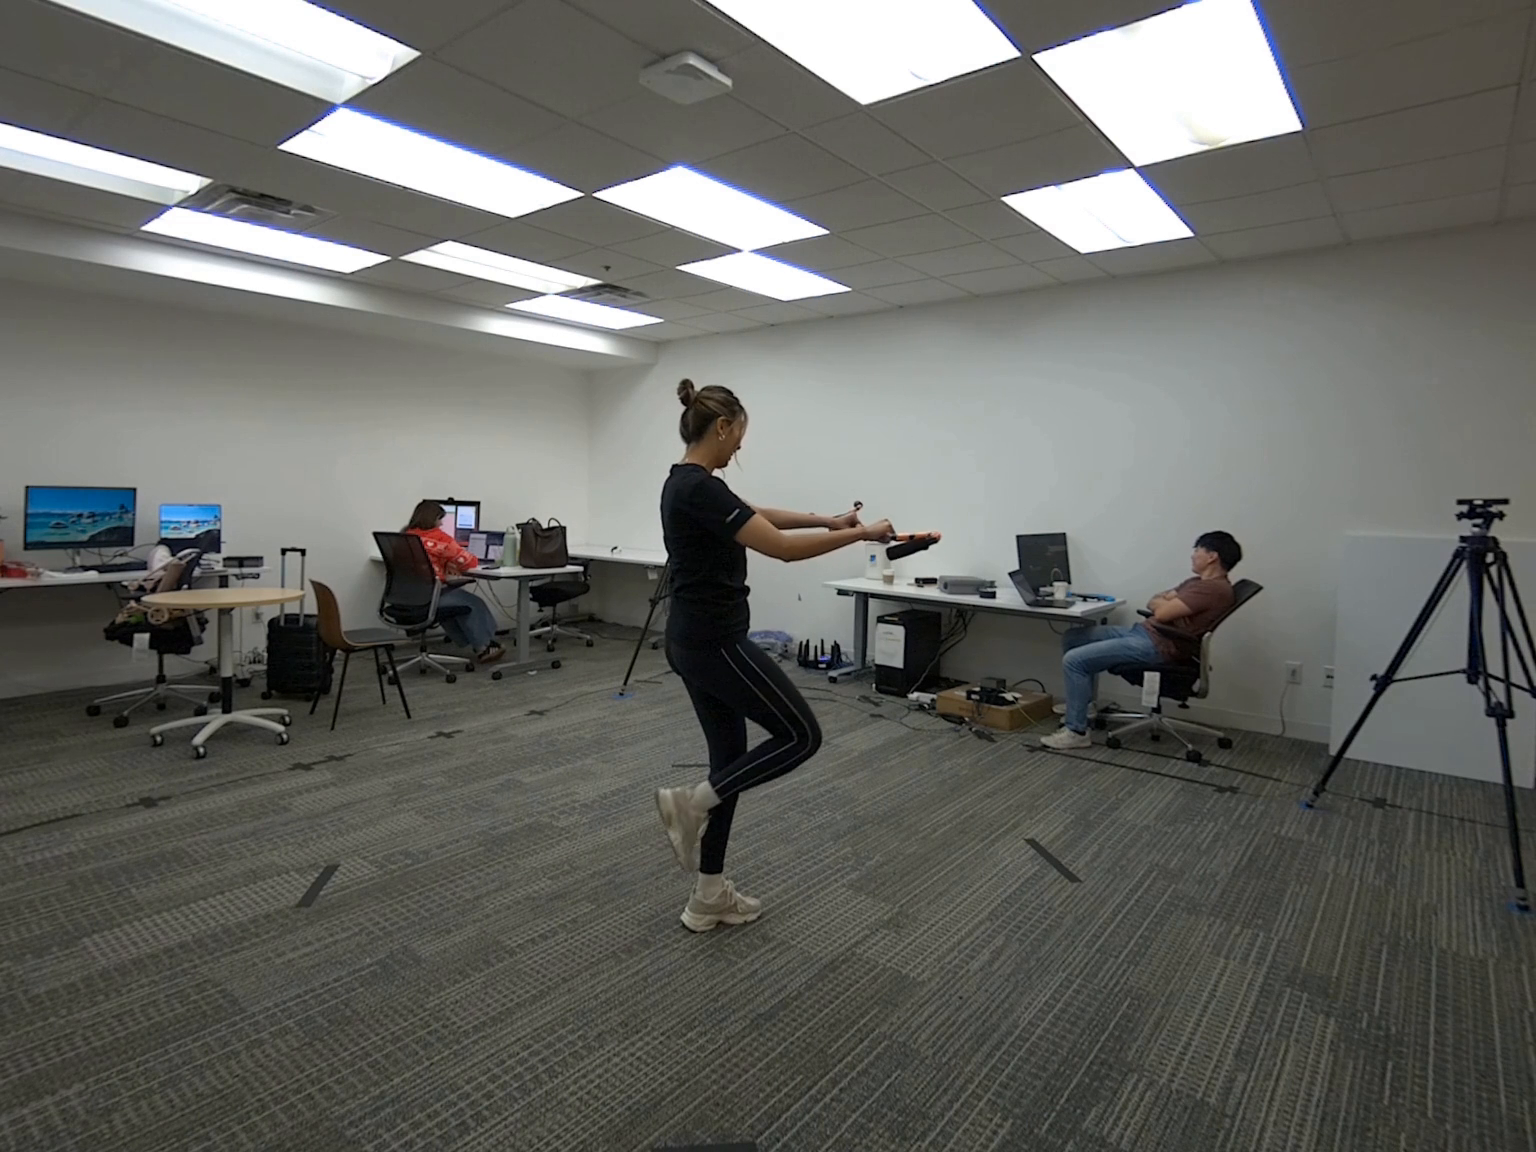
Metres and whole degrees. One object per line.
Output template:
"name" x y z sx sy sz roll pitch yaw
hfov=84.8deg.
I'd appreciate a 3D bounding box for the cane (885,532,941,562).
"cane" 0.326 -0.122 2.657 0.205 0.150 0.920 -15 9 -7
